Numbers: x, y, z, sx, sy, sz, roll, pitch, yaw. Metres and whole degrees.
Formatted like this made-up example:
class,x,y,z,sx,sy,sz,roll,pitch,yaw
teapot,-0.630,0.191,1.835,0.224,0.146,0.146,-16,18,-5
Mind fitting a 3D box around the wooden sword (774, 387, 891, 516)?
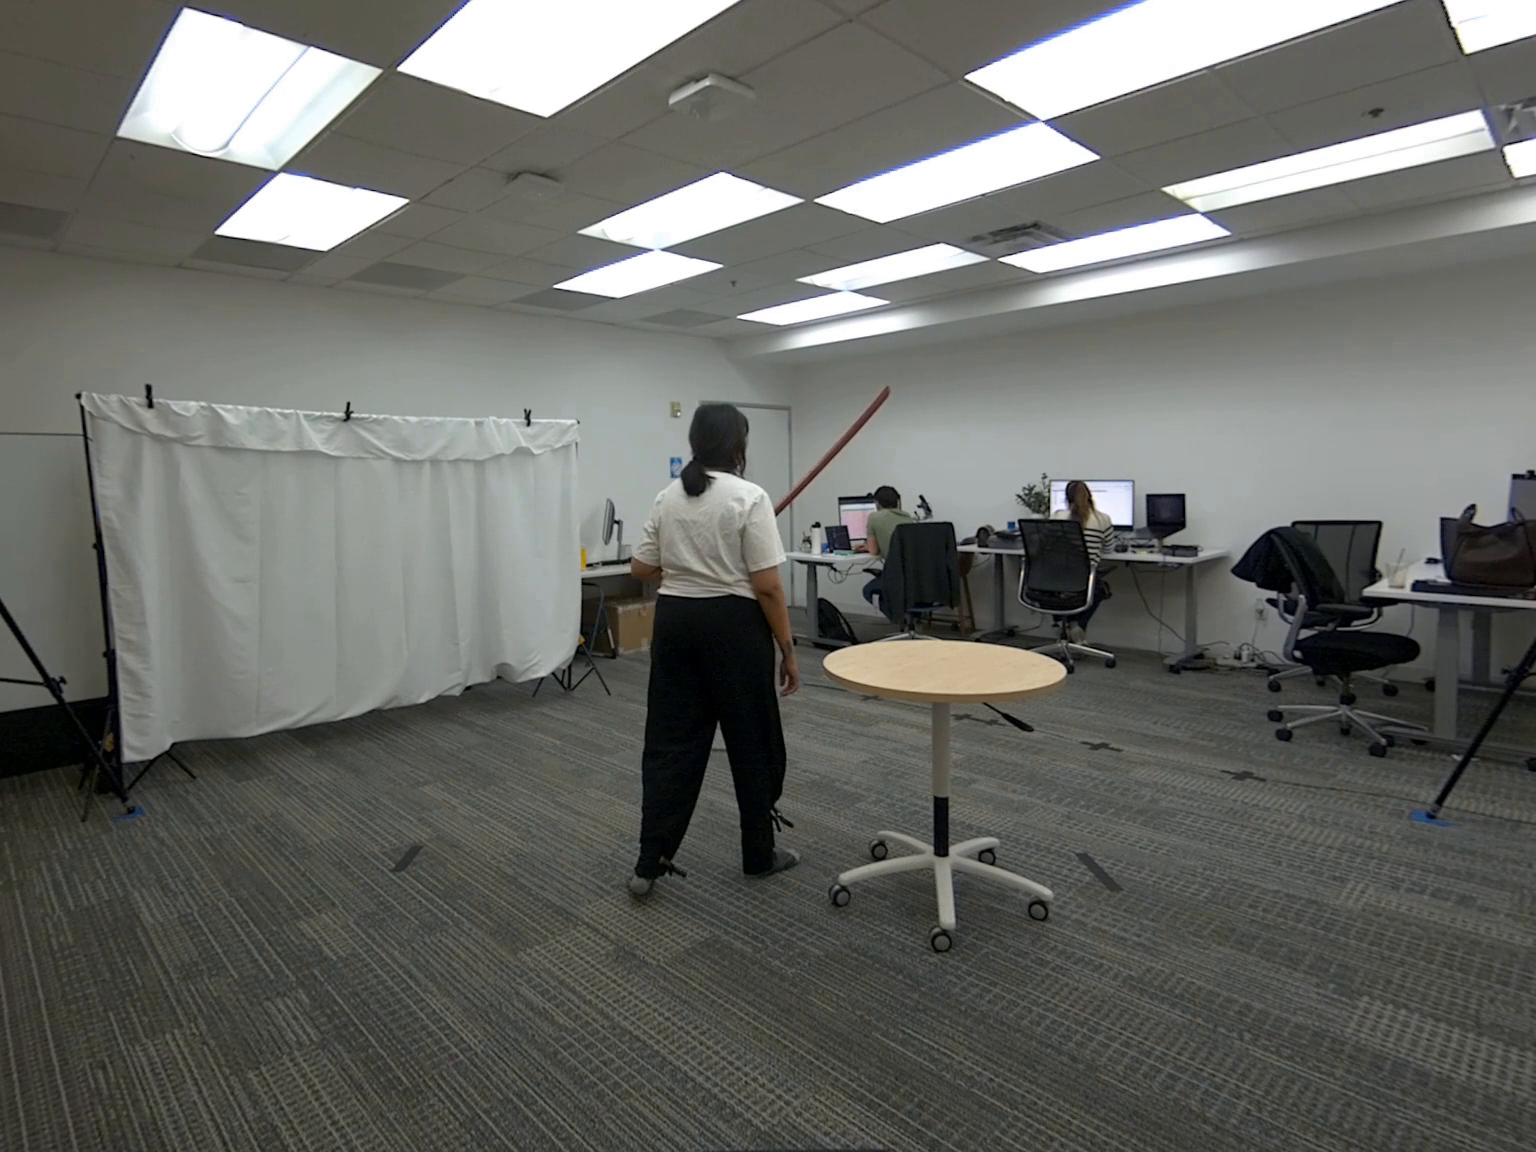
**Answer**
class,x,y,z,sx,sy,sz,roll,pitch,yaw
wooden sword,0.136,-0.365,3.261,0.053,1.024,0.023,33,-13,49
